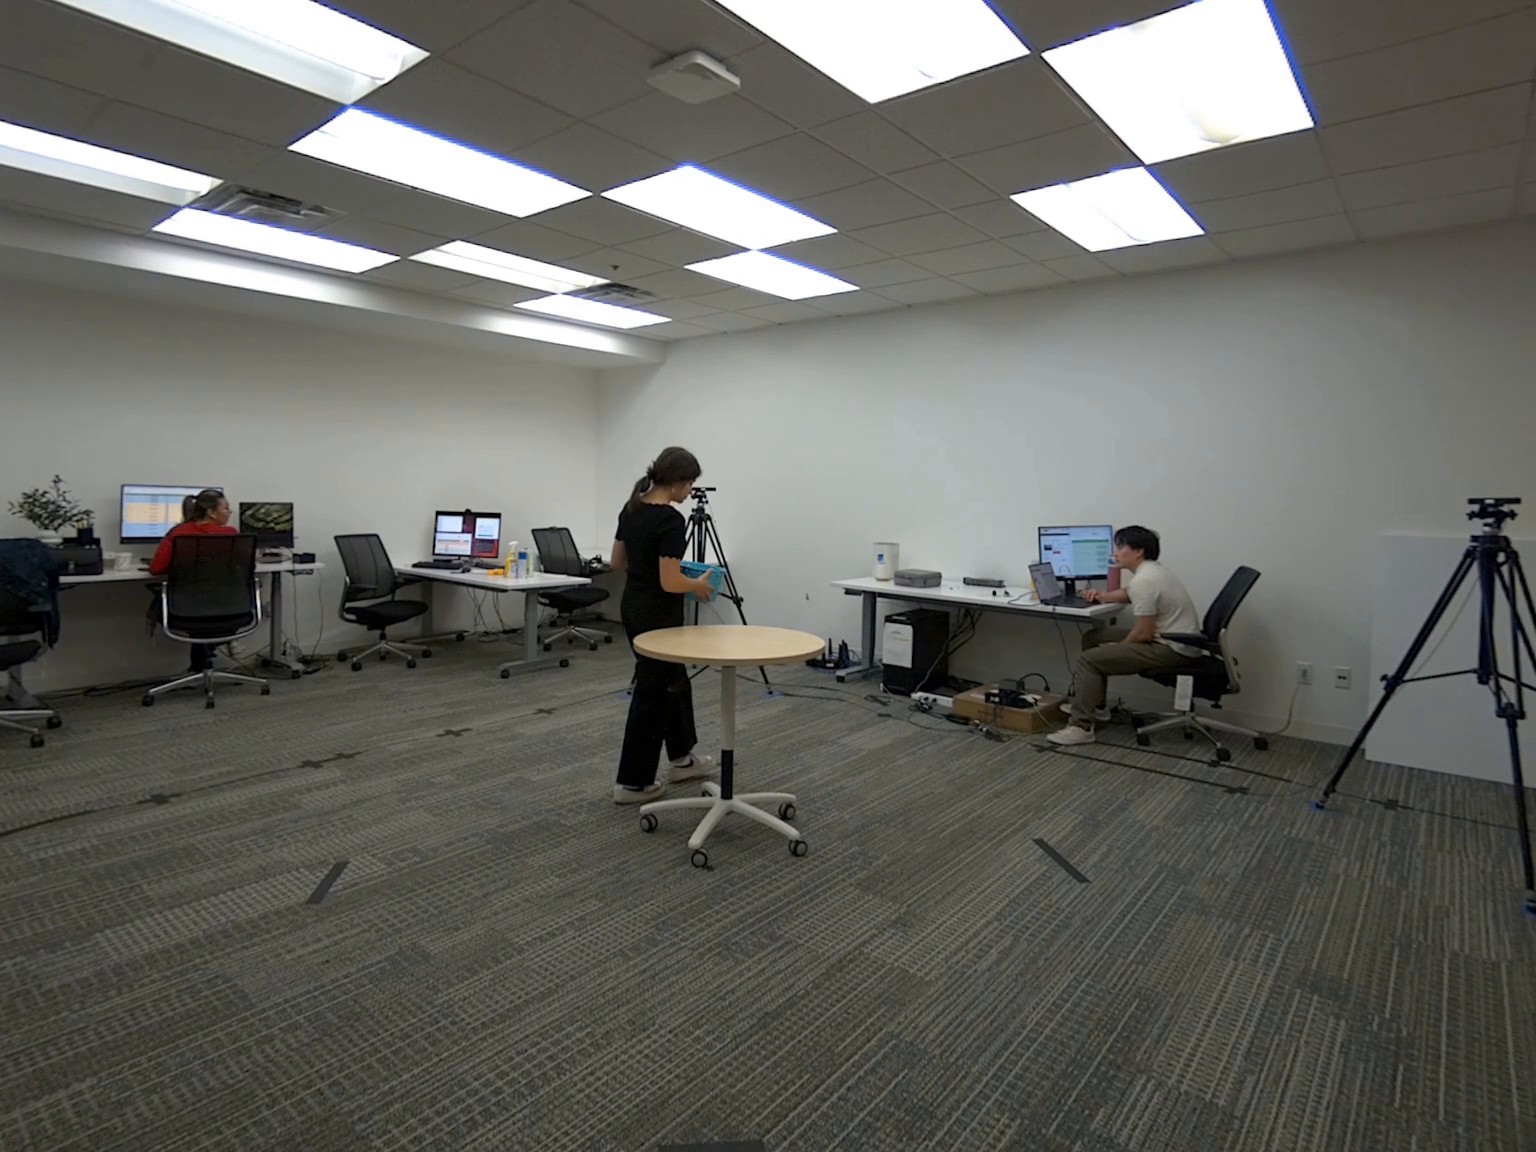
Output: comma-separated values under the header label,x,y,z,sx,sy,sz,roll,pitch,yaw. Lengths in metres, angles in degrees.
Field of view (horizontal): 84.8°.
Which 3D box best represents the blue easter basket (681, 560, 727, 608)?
label,x,y,z,sx,sy,sz,roll,pitch,yaw
blue easter basket,-0.331,0.029,3.957,0.243,0.155,0.245,8,7,-3
